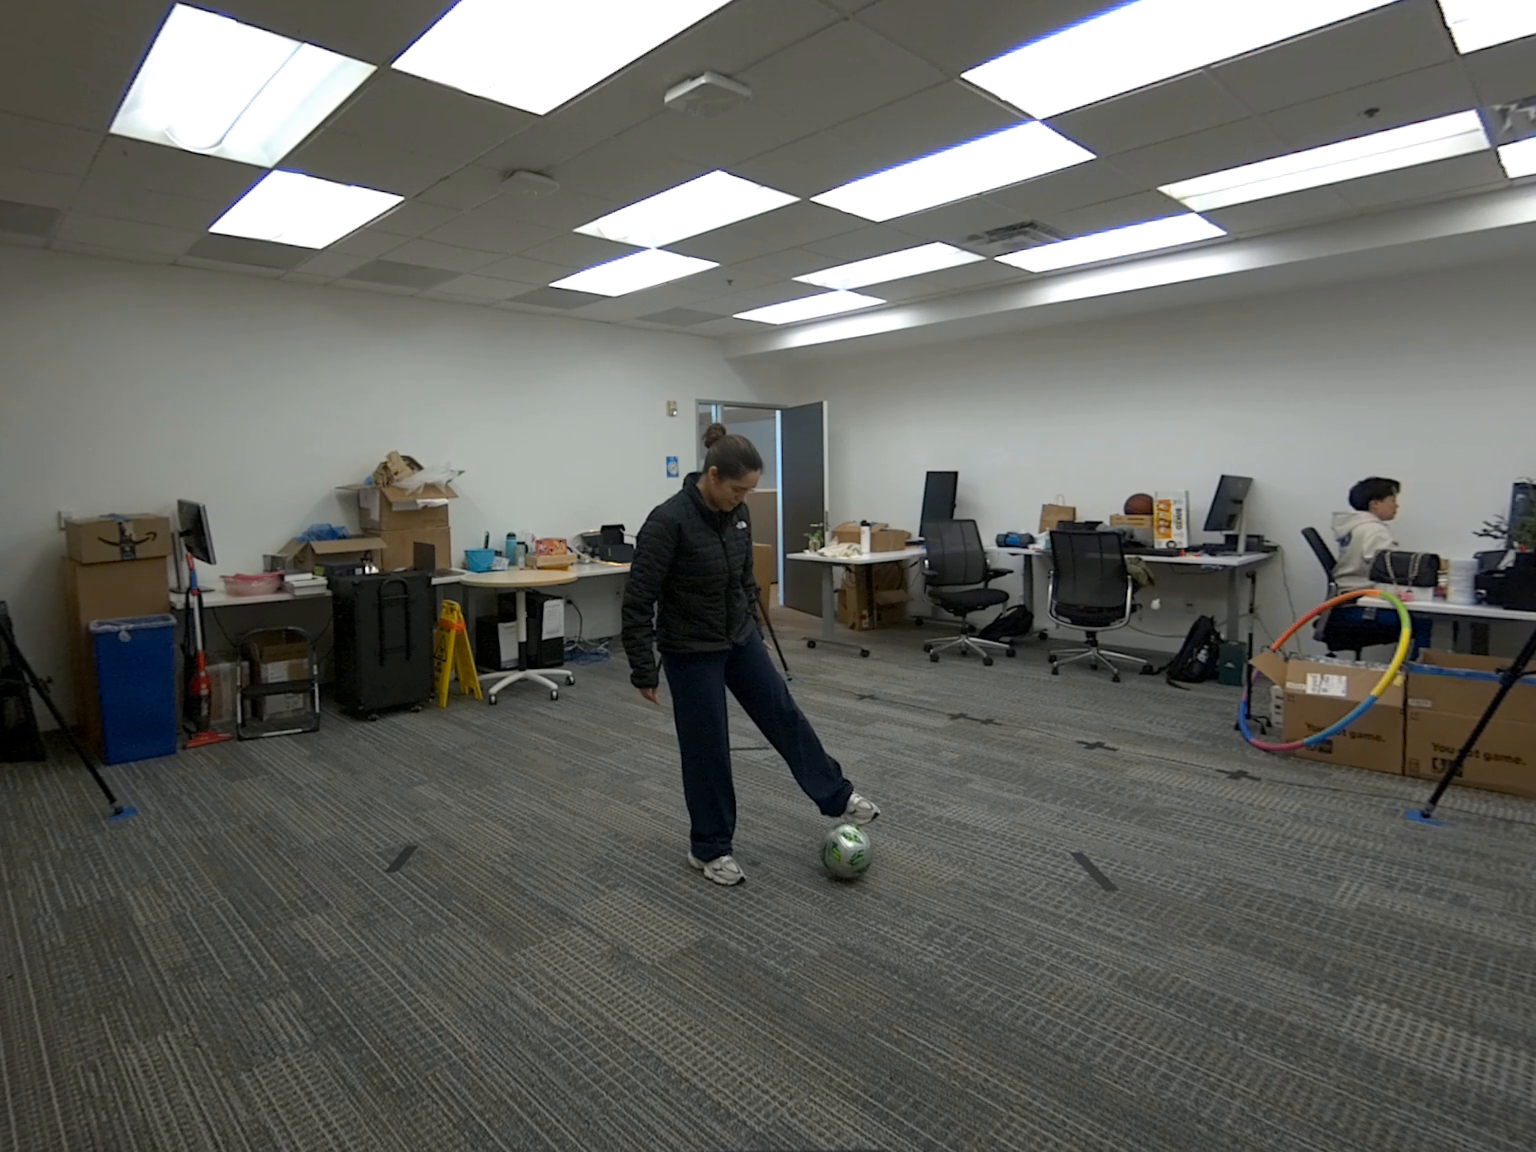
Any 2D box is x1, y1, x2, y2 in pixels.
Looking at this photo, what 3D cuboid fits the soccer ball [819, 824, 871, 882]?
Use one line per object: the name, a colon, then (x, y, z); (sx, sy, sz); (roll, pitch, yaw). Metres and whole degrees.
soccer ball: (0.264, 0.958, 2.980); (0.187, 0.187, 0.188); (-1, 5, -2)
